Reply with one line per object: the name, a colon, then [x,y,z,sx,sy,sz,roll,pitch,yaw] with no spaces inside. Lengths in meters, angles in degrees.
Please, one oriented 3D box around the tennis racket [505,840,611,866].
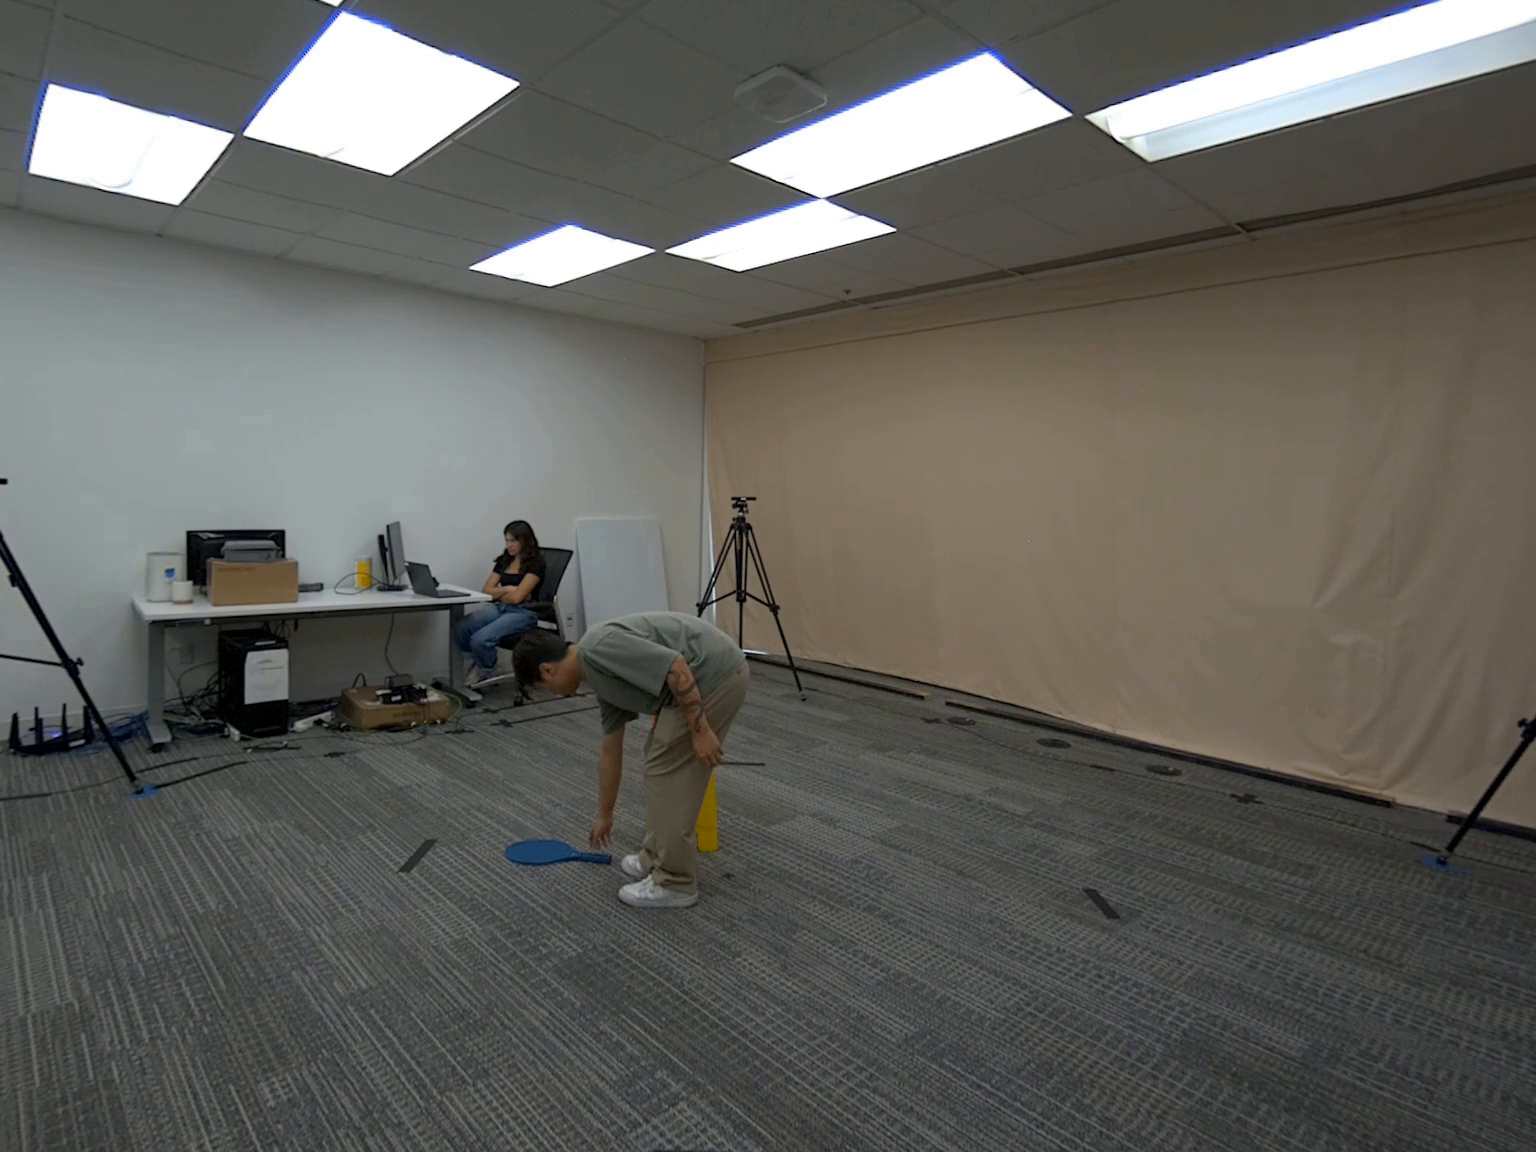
tennis racket: [-0.804,1.061,3.240,0.438,0.031,0.211,1,6,16]
